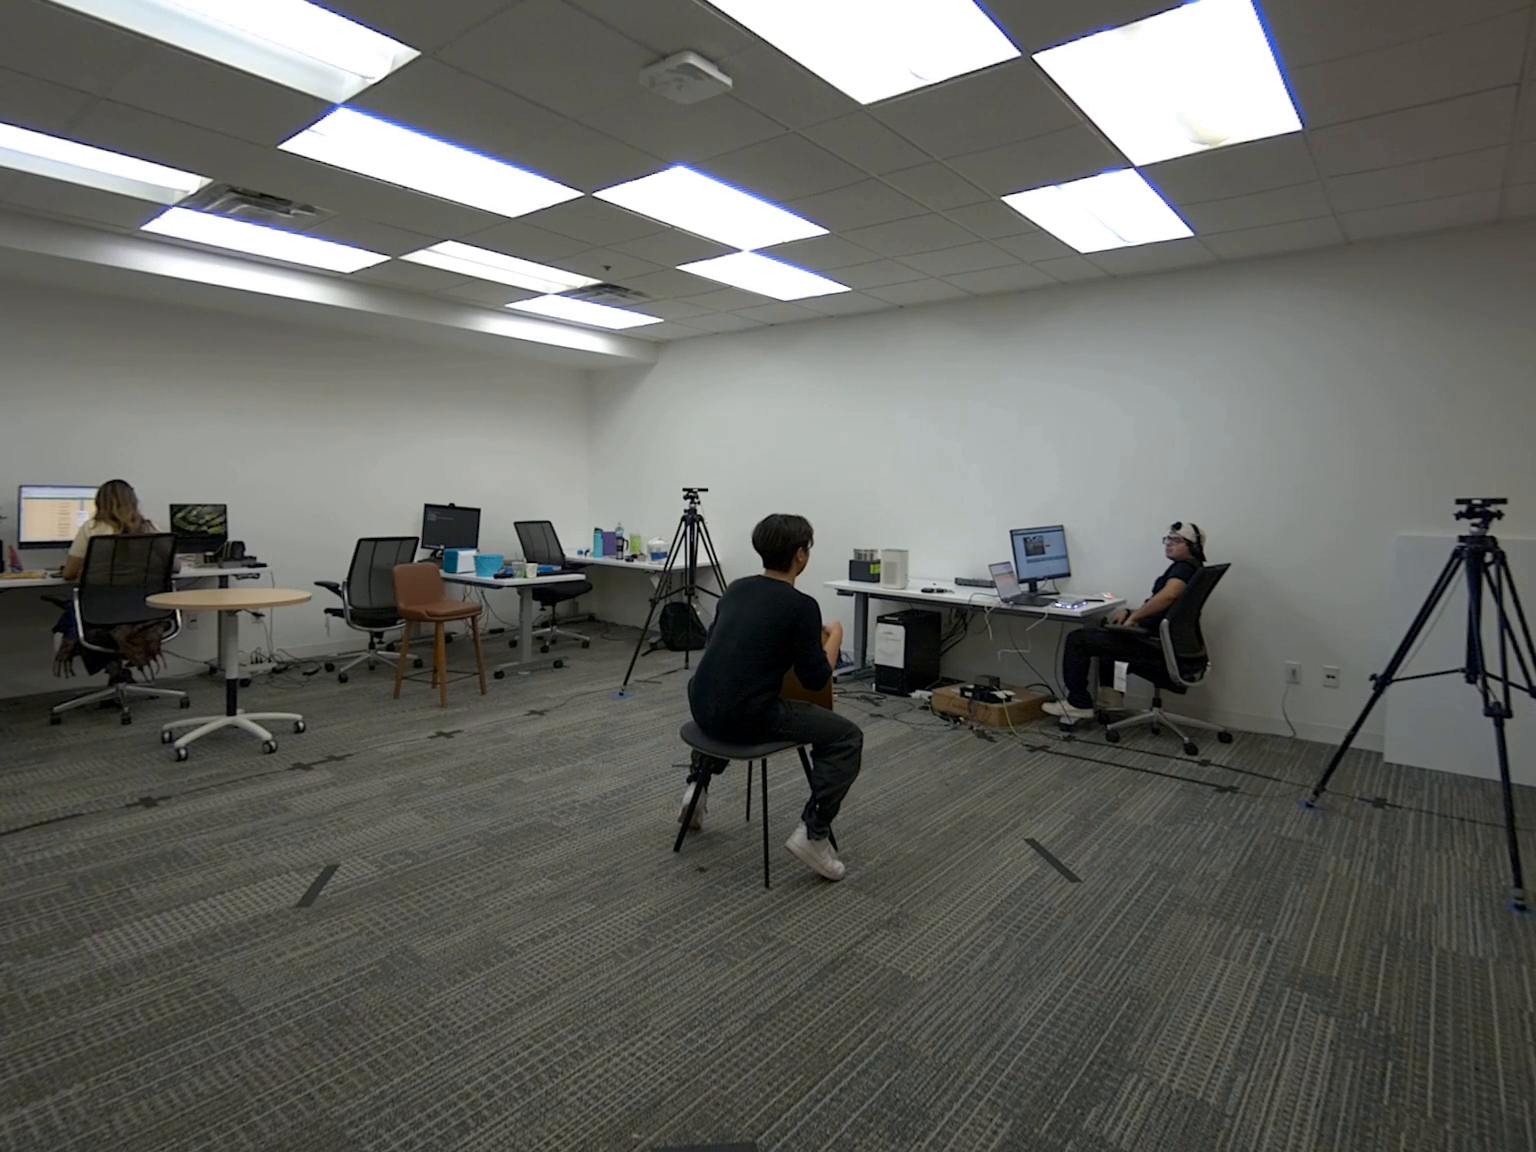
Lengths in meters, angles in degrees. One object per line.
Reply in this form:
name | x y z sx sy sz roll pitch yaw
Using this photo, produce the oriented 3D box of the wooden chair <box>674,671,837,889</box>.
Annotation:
wooden chair | -0.048 0.634 3.249 0.494 0.878 0.506 4 0 38
